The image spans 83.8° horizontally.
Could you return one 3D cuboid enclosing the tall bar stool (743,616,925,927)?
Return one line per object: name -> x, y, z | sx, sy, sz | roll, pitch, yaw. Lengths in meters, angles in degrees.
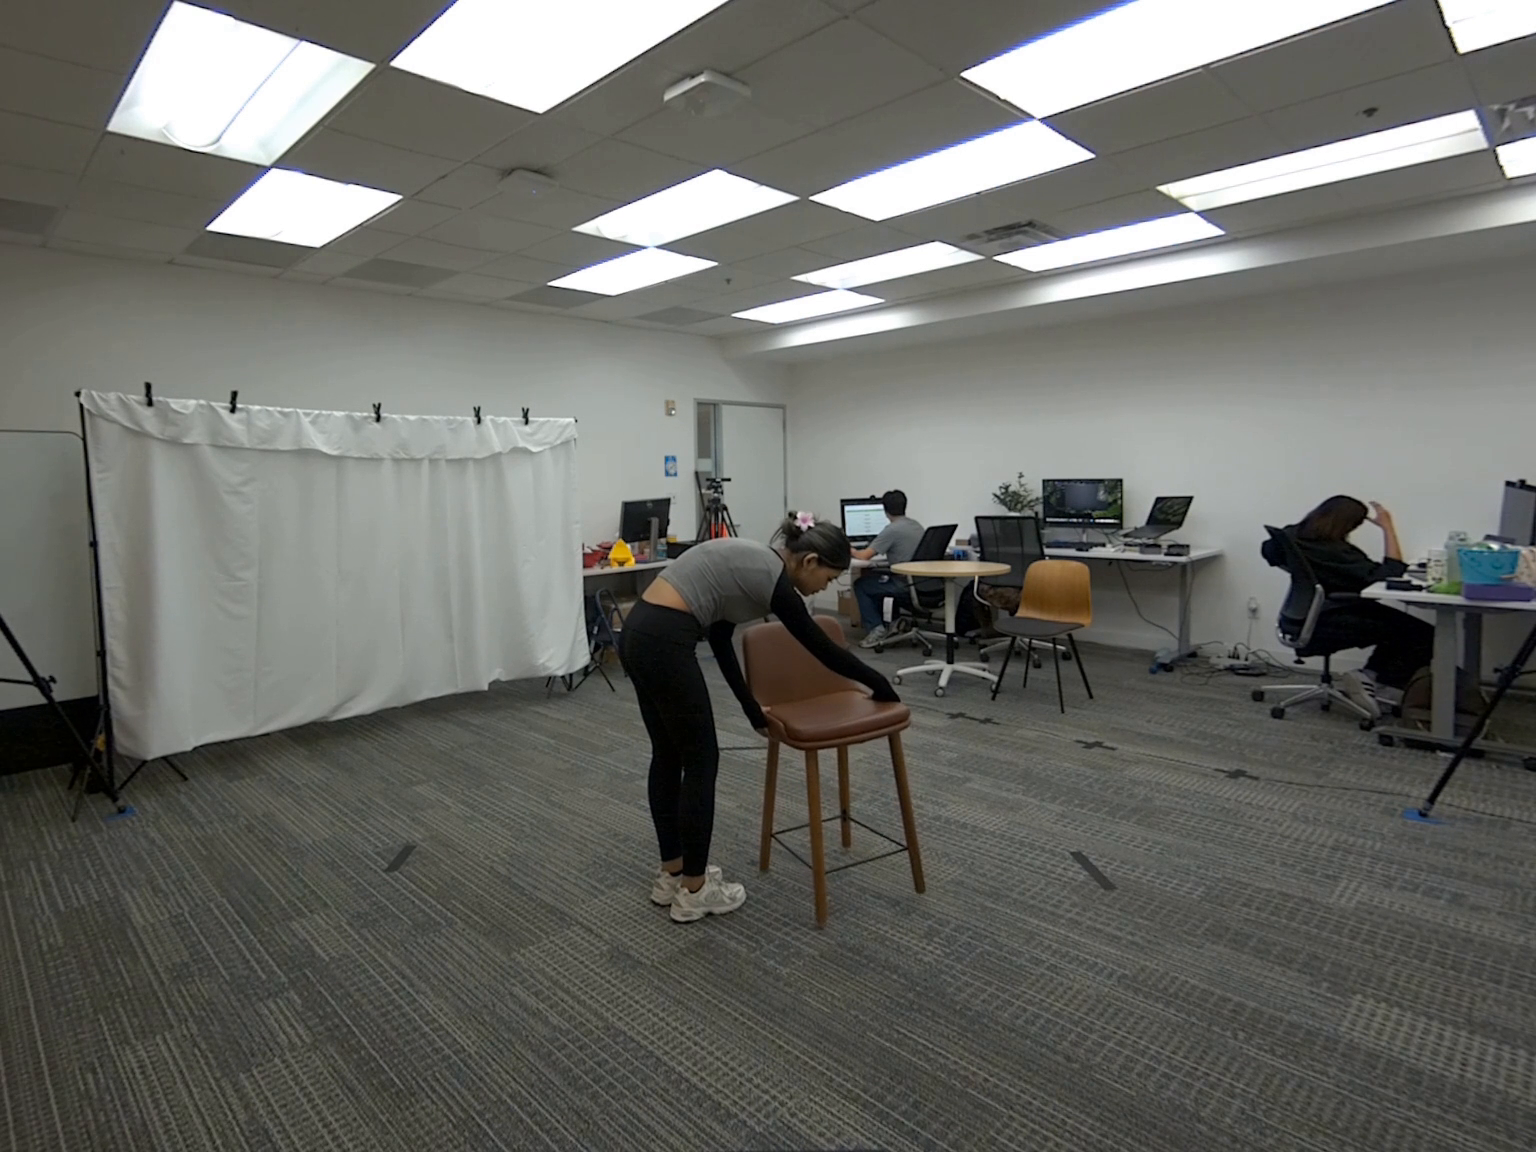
tall bar stool -> 0.212, 0.615, 2.904 | 0.447, 0.887, 0.478 | -6, 3, -26
